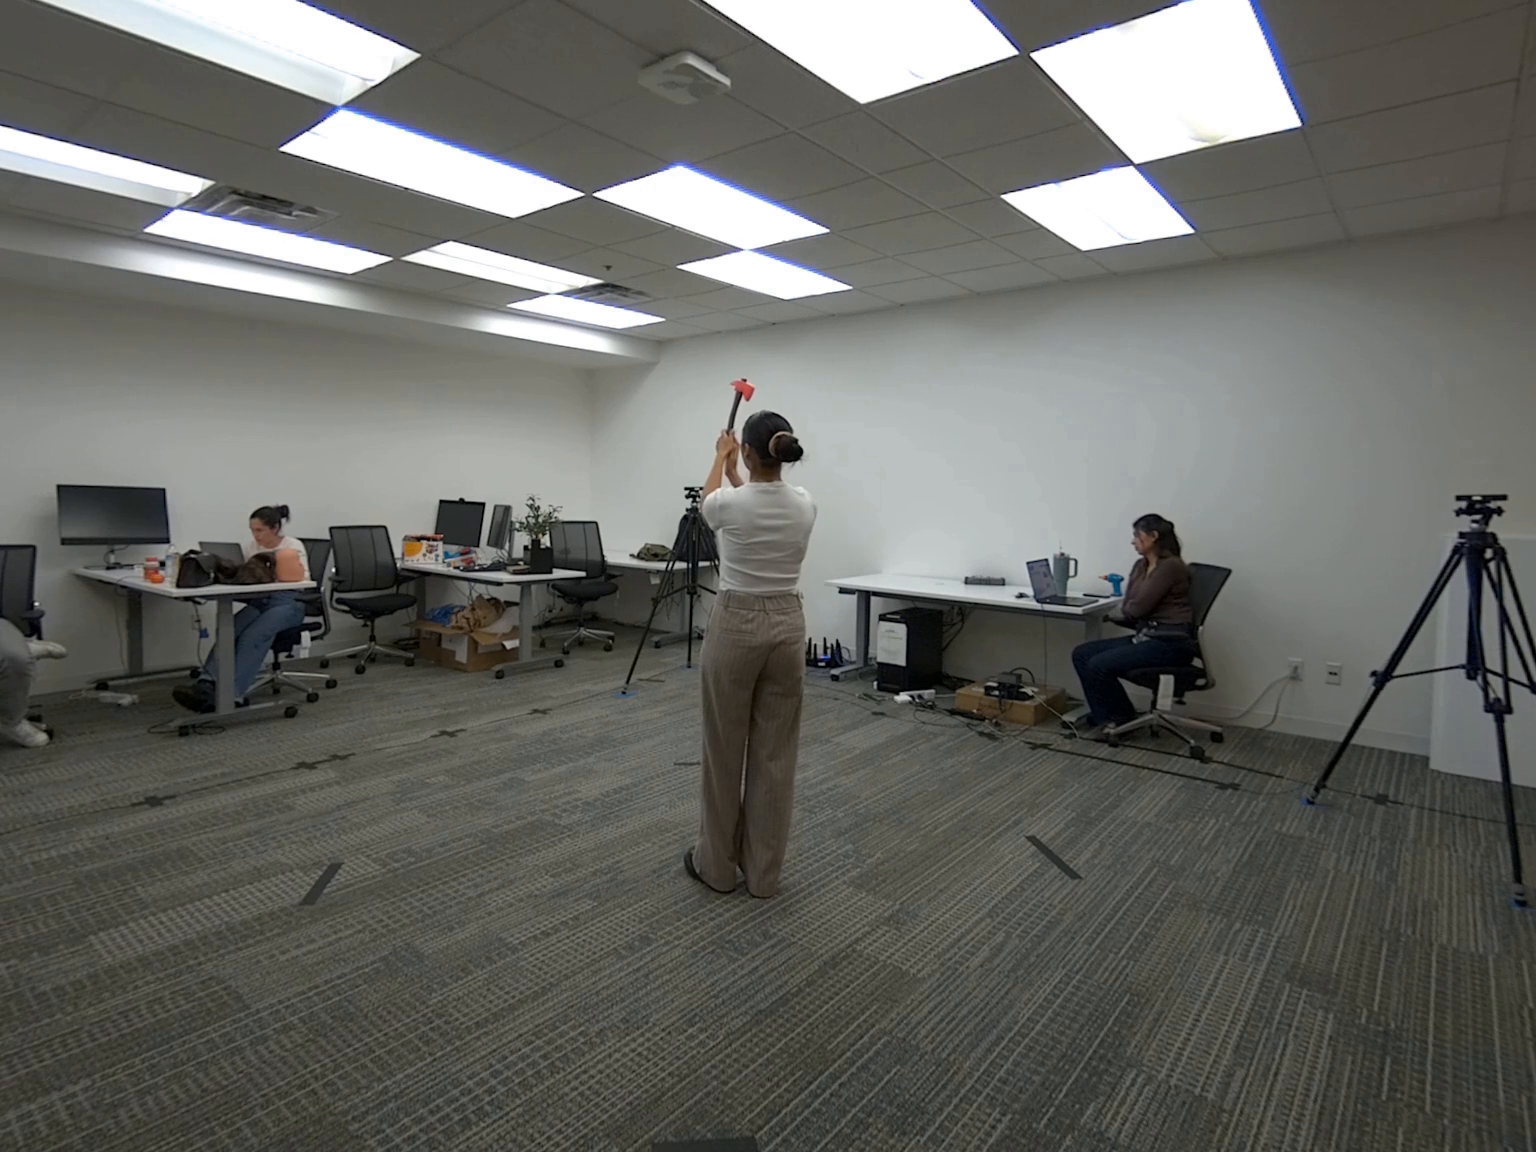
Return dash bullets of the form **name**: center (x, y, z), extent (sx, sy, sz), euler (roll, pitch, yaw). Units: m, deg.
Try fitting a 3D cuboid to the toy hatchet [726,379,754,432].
- **toy hatchet**: center (-0.118, -0.631, 3.253), extent (0.135, 0.271, 0.028), euler (-2, -5, 41)
